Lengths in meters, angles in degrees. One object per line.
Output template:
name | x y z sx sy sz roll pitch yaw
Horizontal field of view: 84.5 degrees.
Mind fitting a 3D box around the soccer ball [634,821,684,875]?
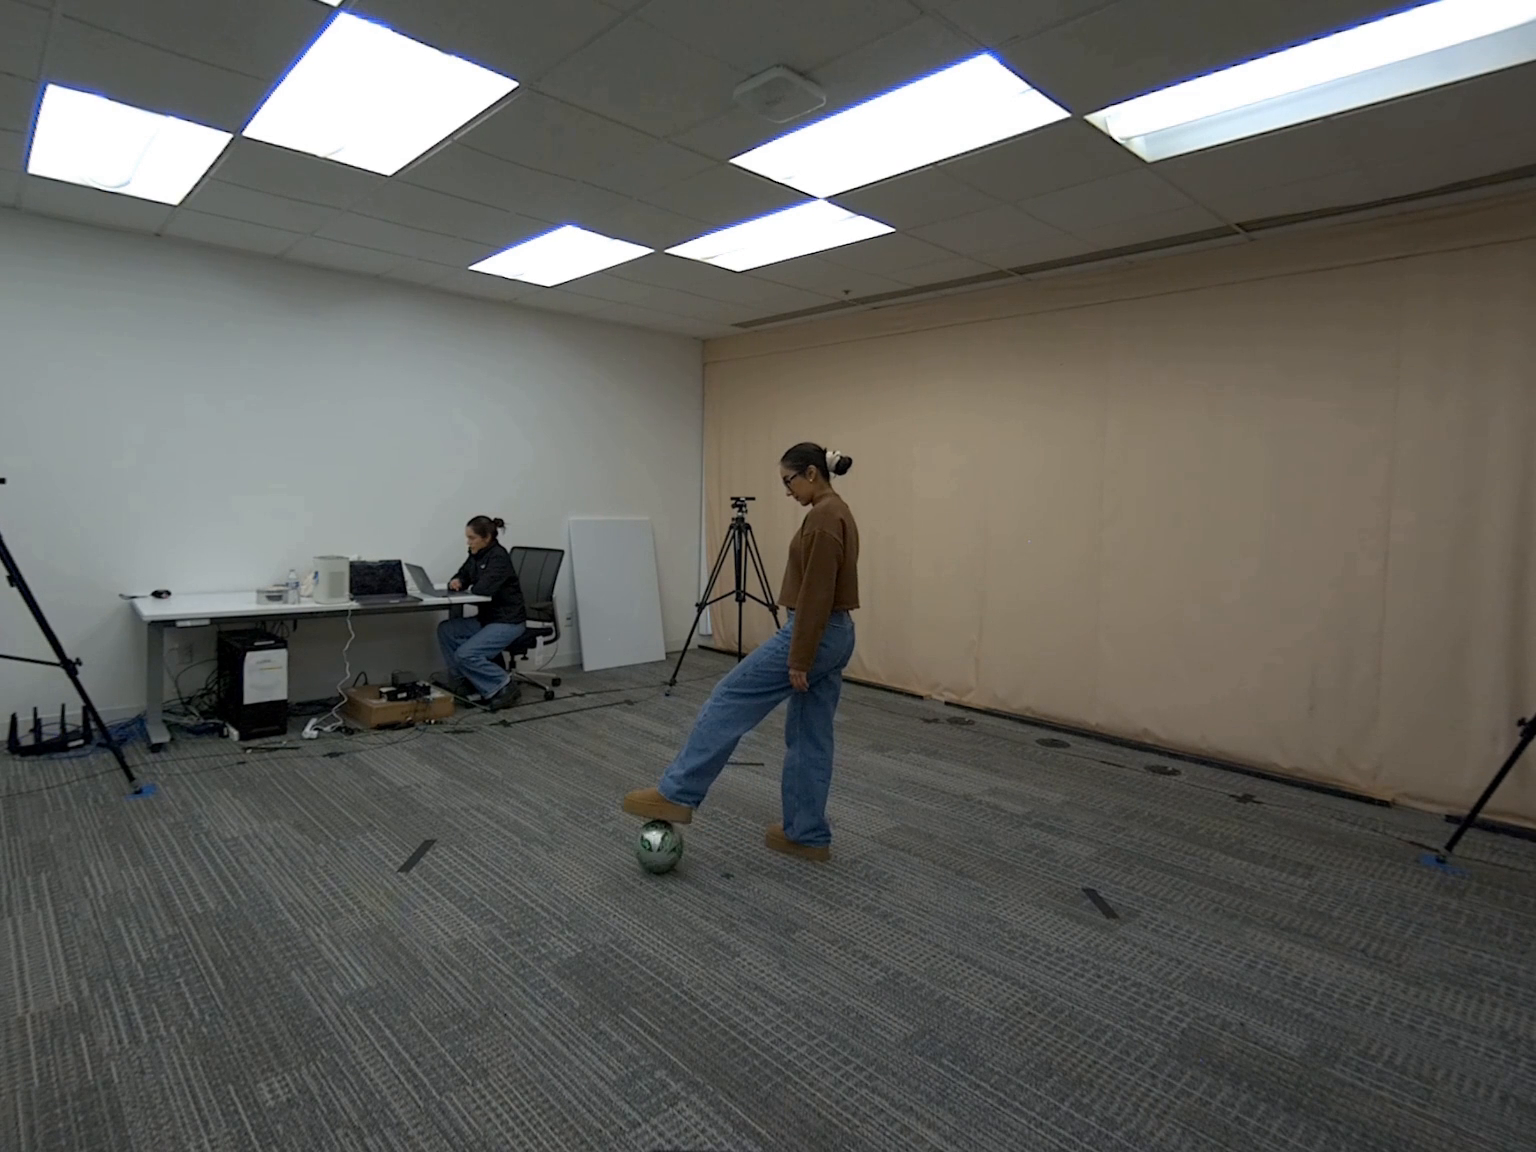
soccer ball | -0.411 1.007 3.130 0.187 0.187 0.188 1 4 -1
